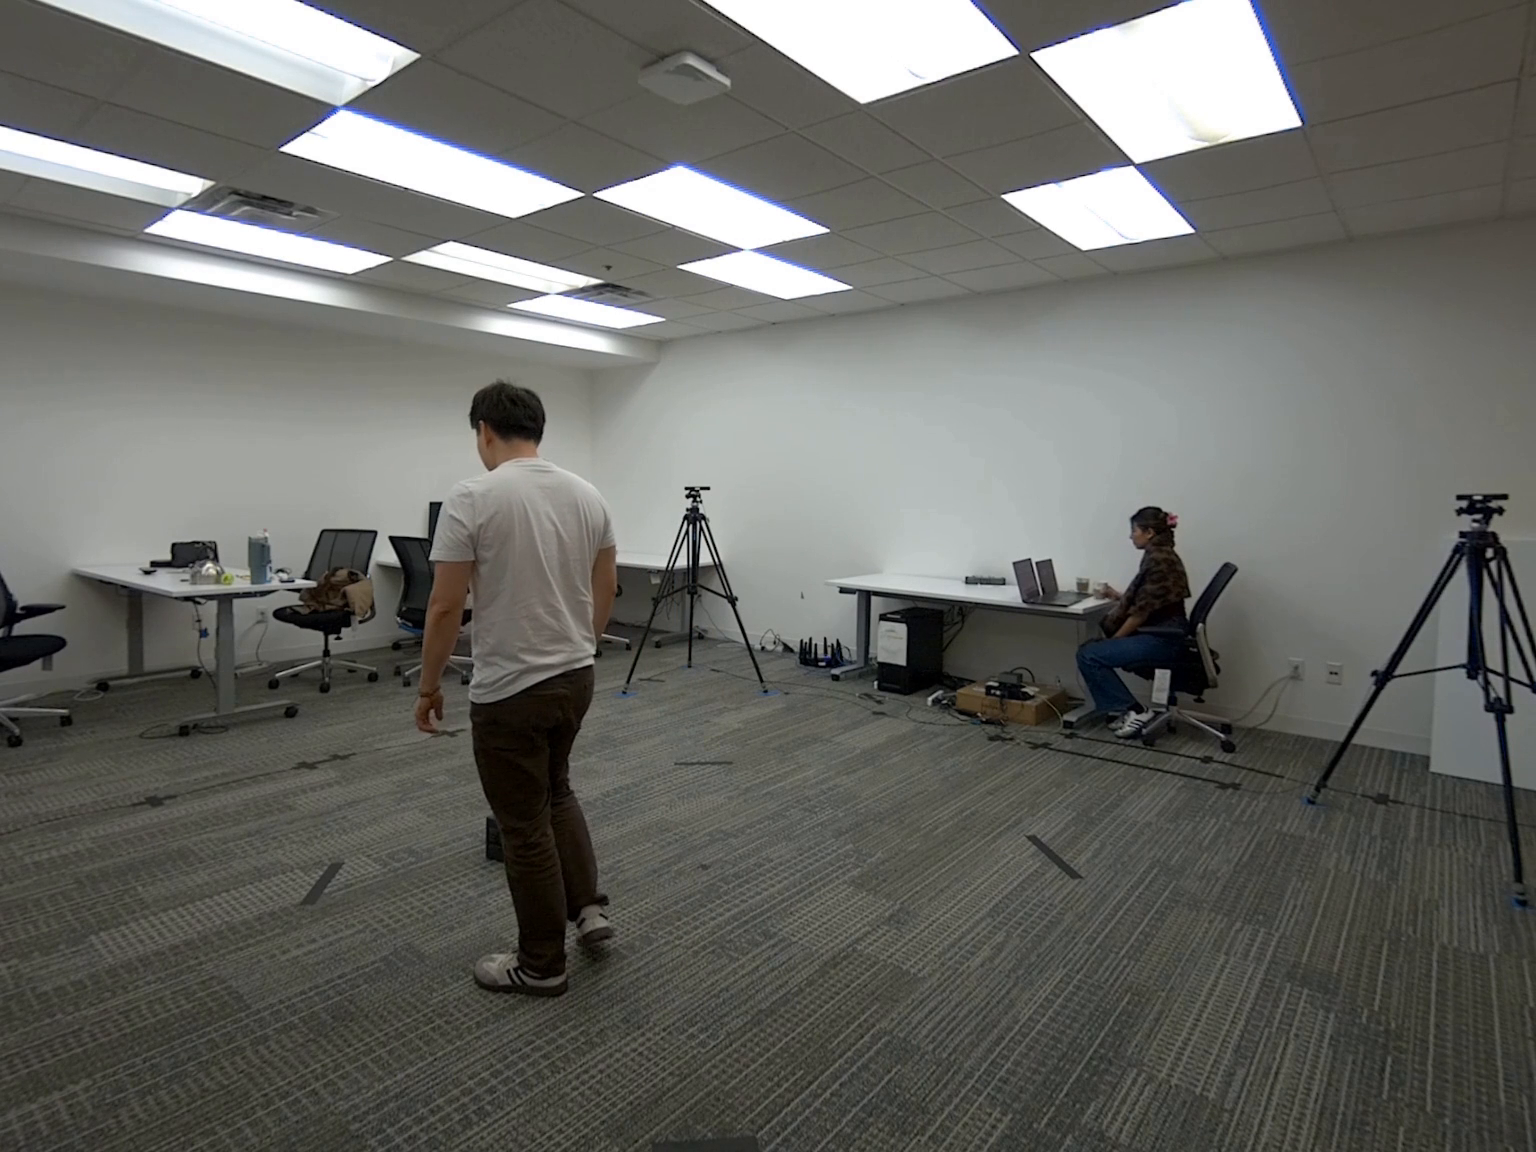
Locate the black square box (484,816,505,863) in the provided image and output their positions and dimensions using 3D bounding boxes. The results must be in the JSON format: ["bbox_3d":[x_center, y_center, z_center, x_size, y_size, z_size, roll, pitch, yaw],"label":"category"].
[{"bbox_3d":[-0.912,0.958,3.207,0.222,0.155,0.223,3,4,23],"label":"black square box"}]
